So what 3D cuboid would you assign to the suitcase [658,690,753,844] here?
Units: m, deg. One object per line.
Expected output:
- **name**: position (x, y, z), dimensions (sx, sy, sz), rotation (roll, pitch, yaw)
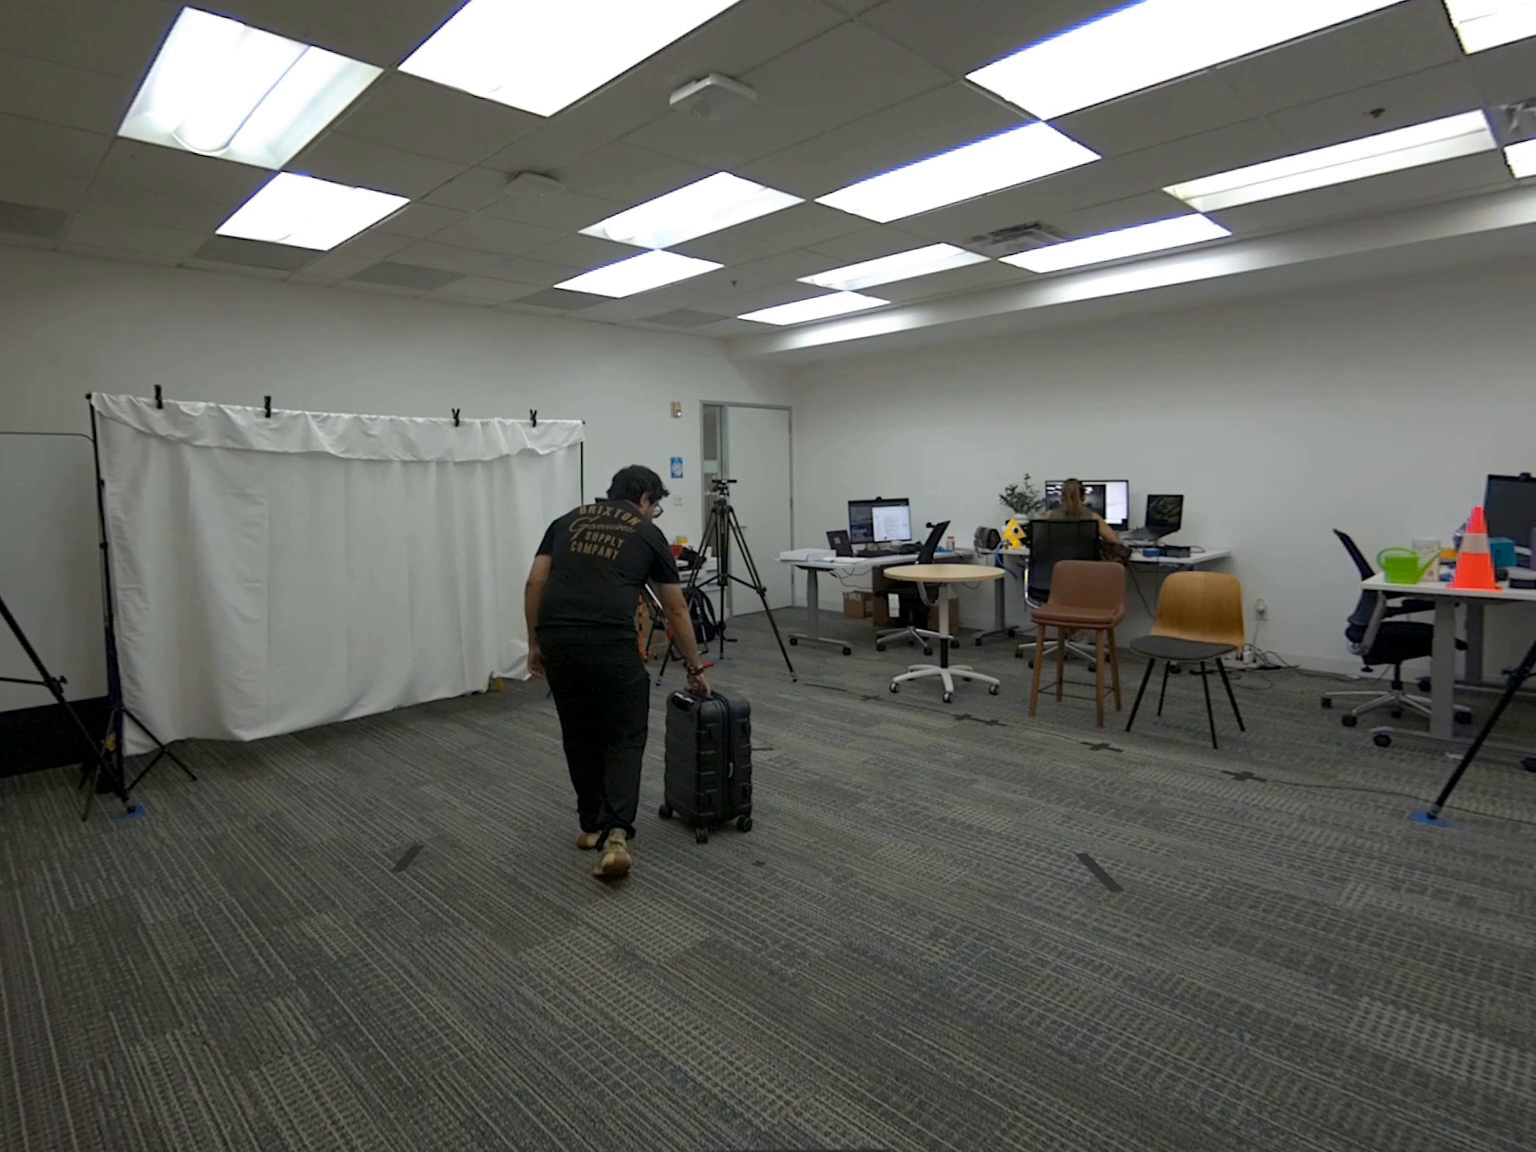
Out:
- **suitcase**: position (-0.241, 0.735, 3.498), dimensions (0.242, 0.549, 0.386), rotation (1, 2, -33)
